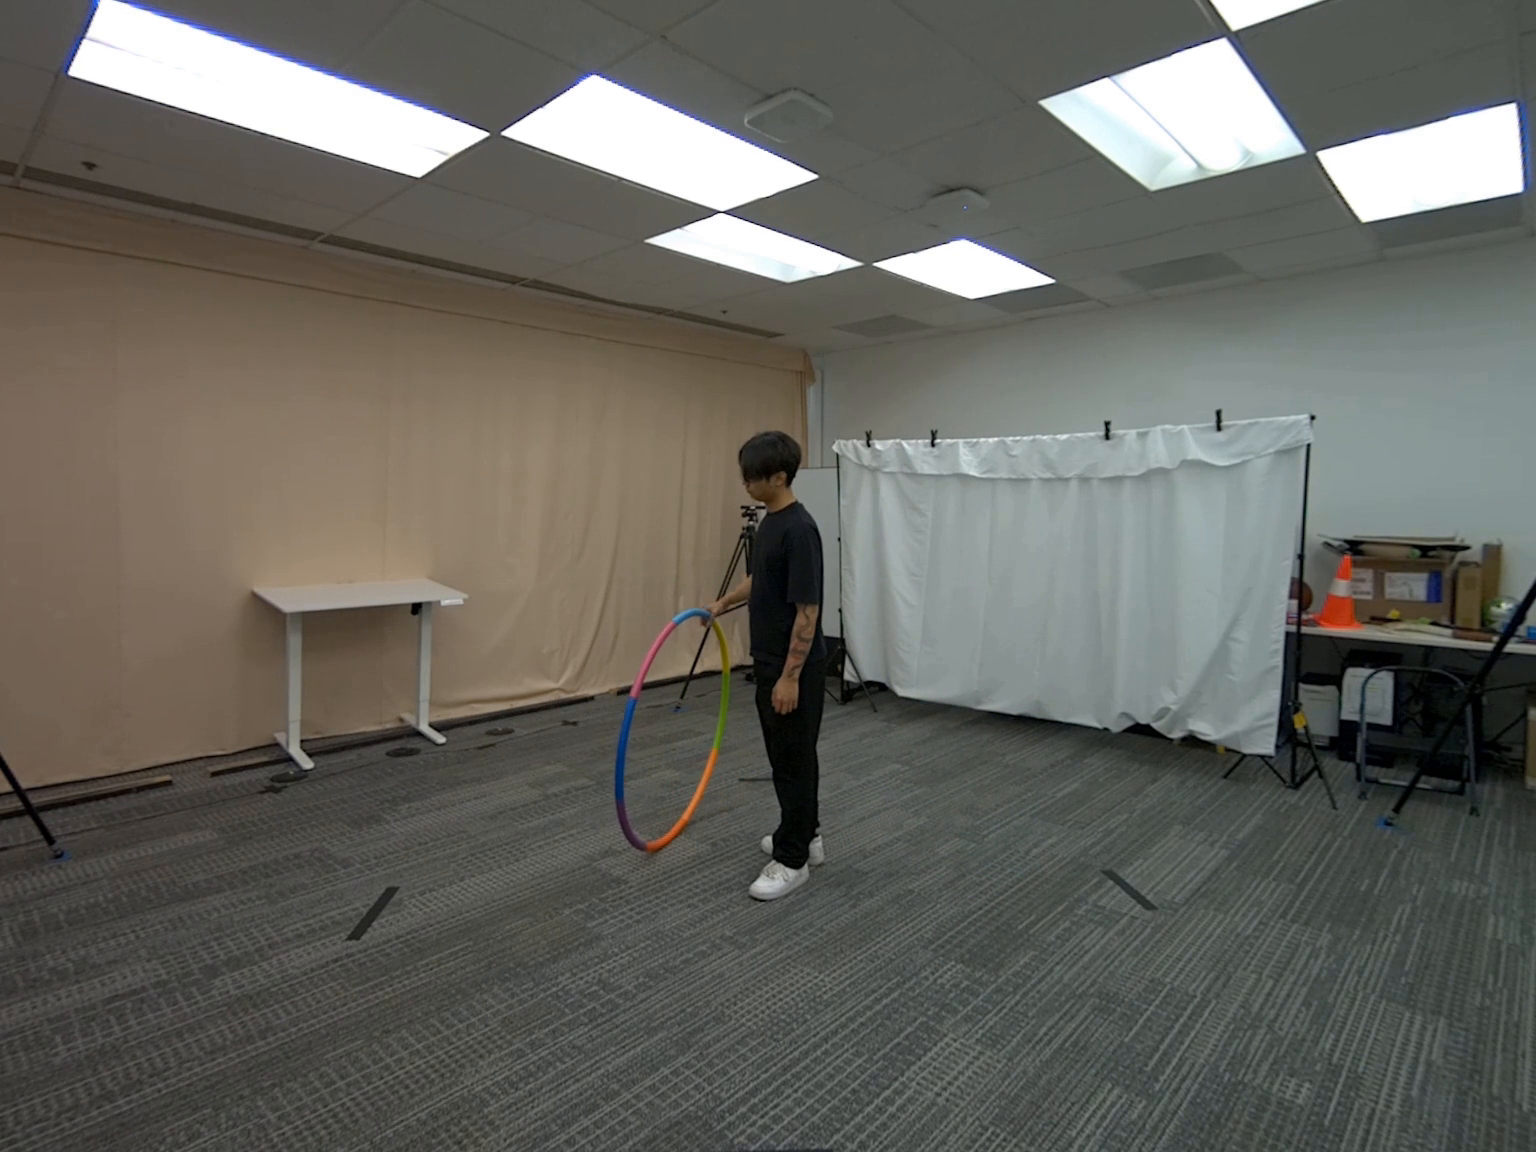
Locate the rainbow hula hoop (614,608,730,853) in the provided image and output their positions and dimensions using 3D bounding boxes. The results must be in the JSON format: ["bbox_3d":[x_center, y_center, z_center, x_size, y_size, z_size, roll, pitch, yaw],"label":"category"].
[{"bbox_3d":[-0.360,0.624,3.445,0.036,0.975,0.958,8,7,21],"label":"rainbow hula hoop"}]
